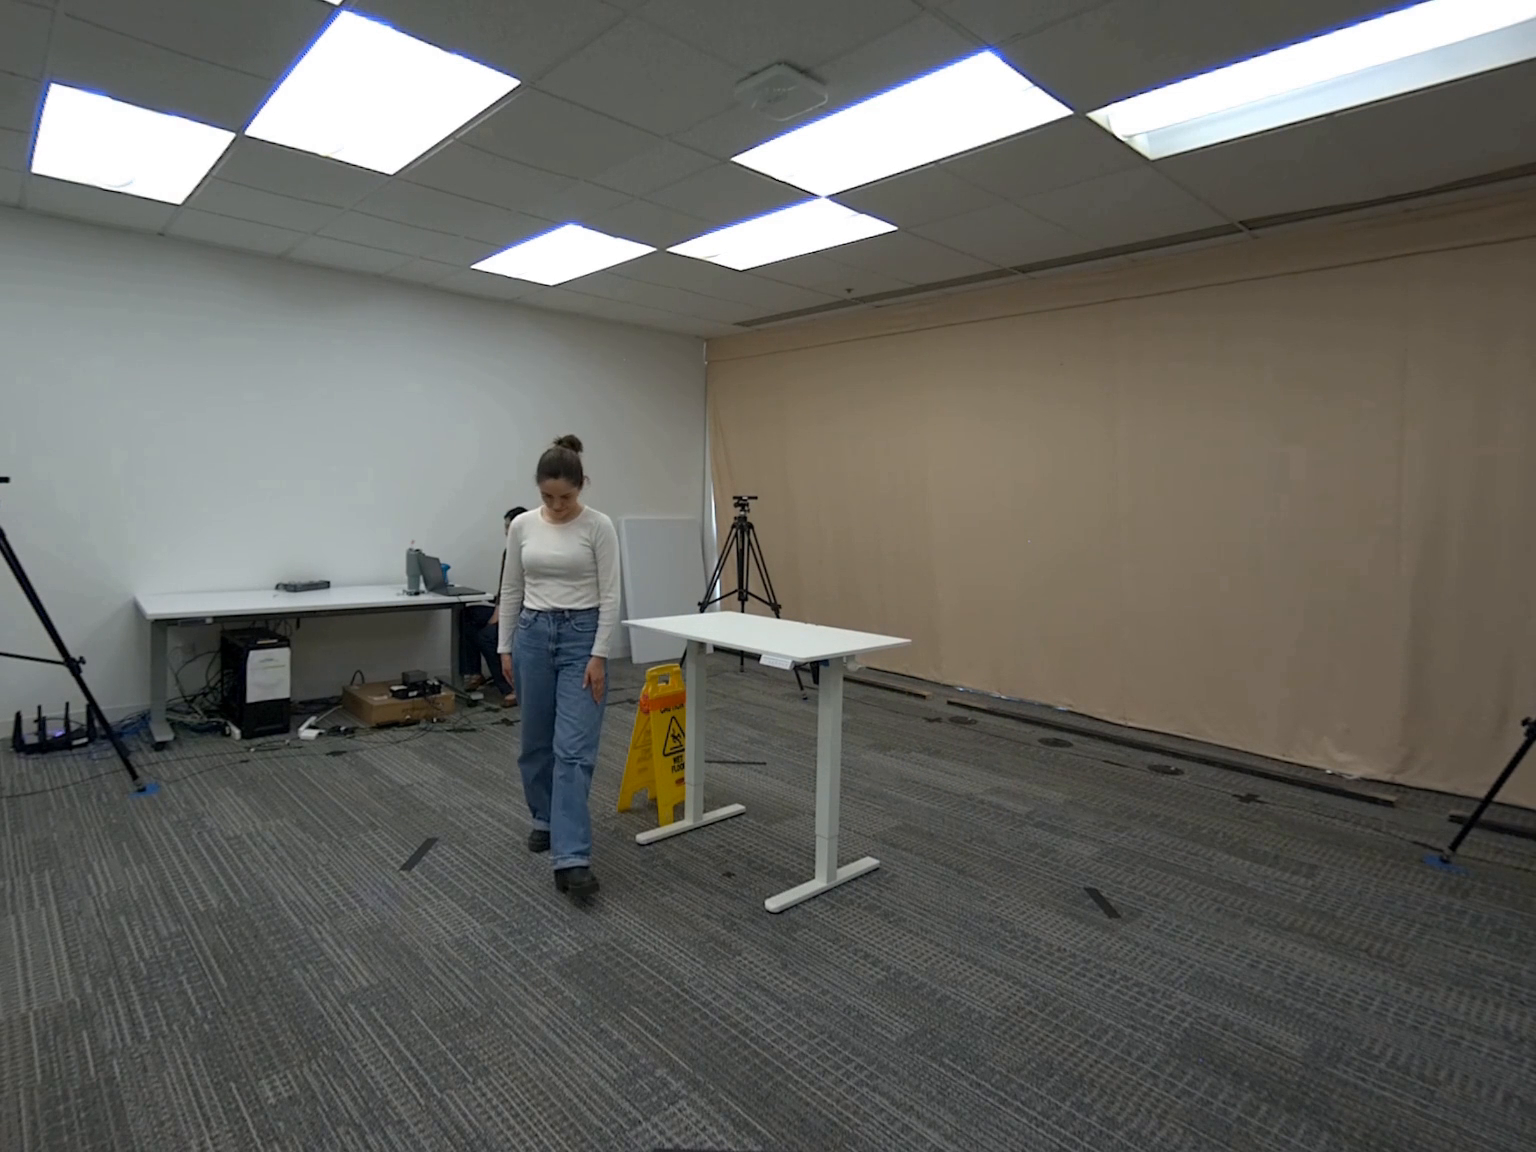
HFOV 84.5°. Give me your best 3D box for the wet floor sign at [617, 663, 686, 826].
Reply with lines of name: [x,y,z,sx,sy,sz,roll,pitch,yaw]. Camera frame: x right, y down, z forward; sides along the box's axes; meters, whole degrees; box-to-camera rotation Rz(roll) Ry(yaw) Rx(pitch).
wet floor sign: [-0.476,0.720,3.709,0.297,0.645,0.276,3,3,38]
